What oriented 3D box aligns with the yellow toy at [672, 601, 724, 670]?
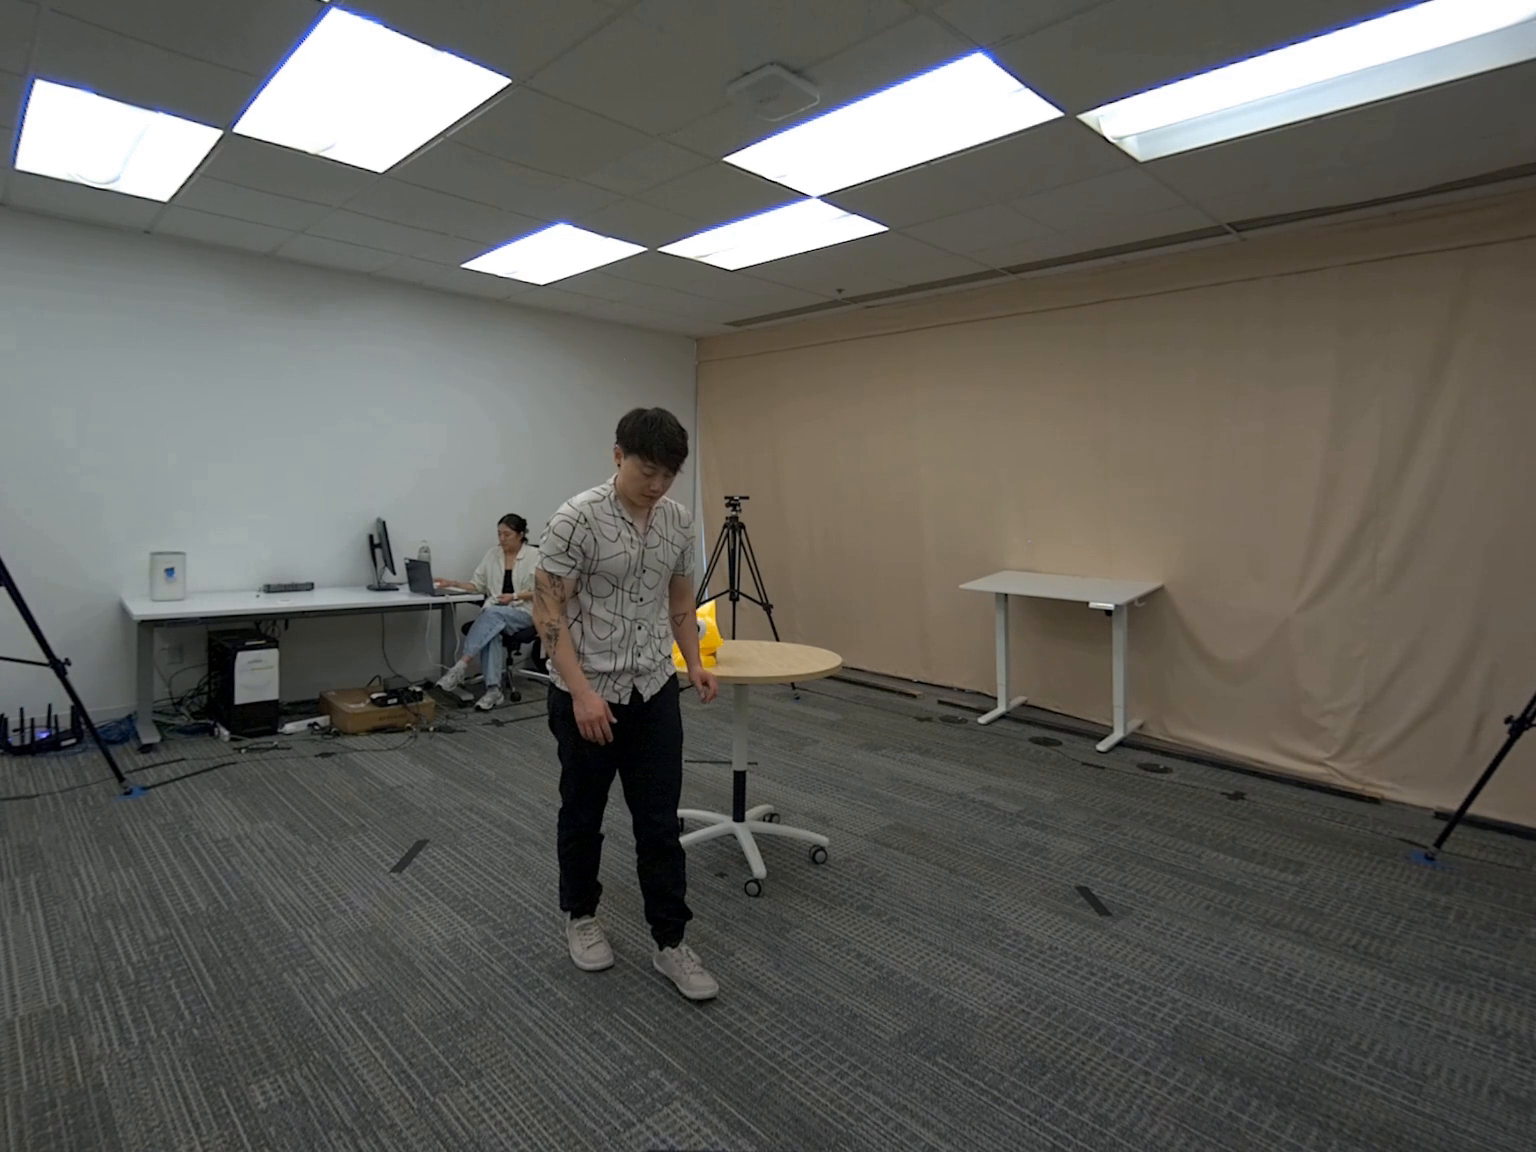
[{"bbox_3d":[-0.265,0.207,3.097,0.193,0.230,0.206,1,4,-3],"label":"yellow toy"}]
